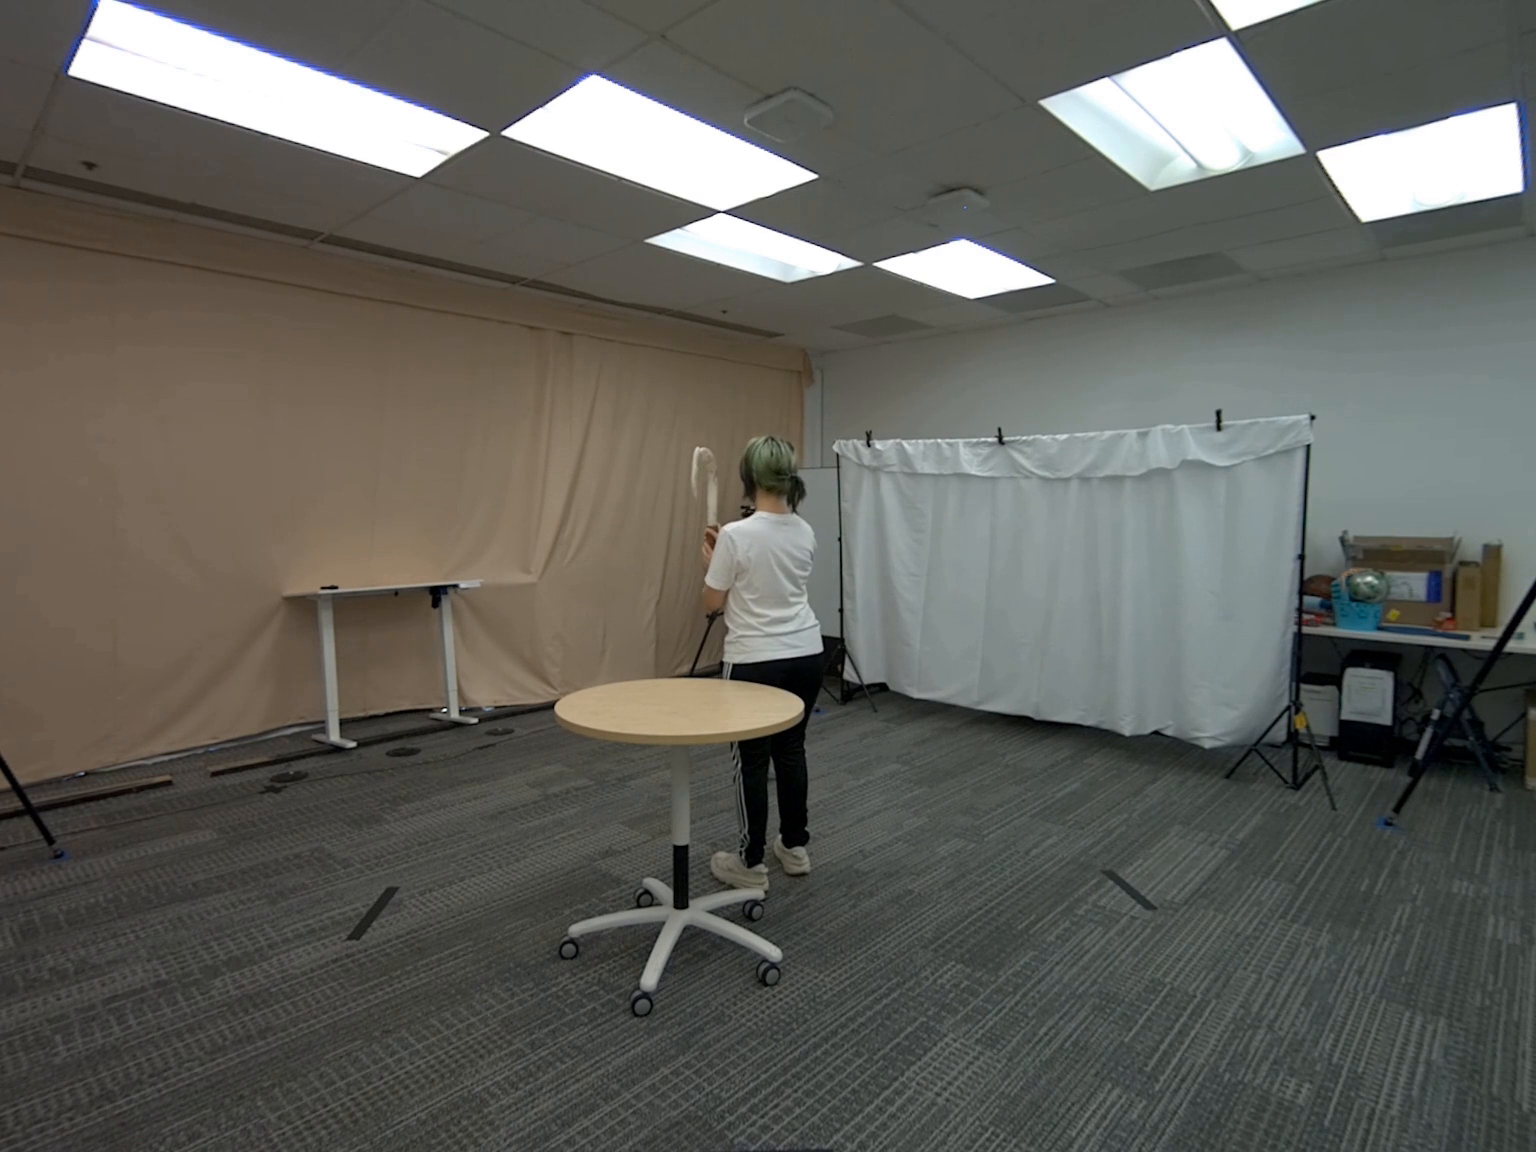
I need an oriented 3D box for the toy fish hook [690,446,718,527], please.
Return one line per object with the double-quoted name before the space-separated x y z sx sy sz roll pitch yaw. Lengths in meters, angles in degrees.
"toy fish hook" -0.240 -0.245 3.289 0.049 0.505 0.220 -2 5 23
